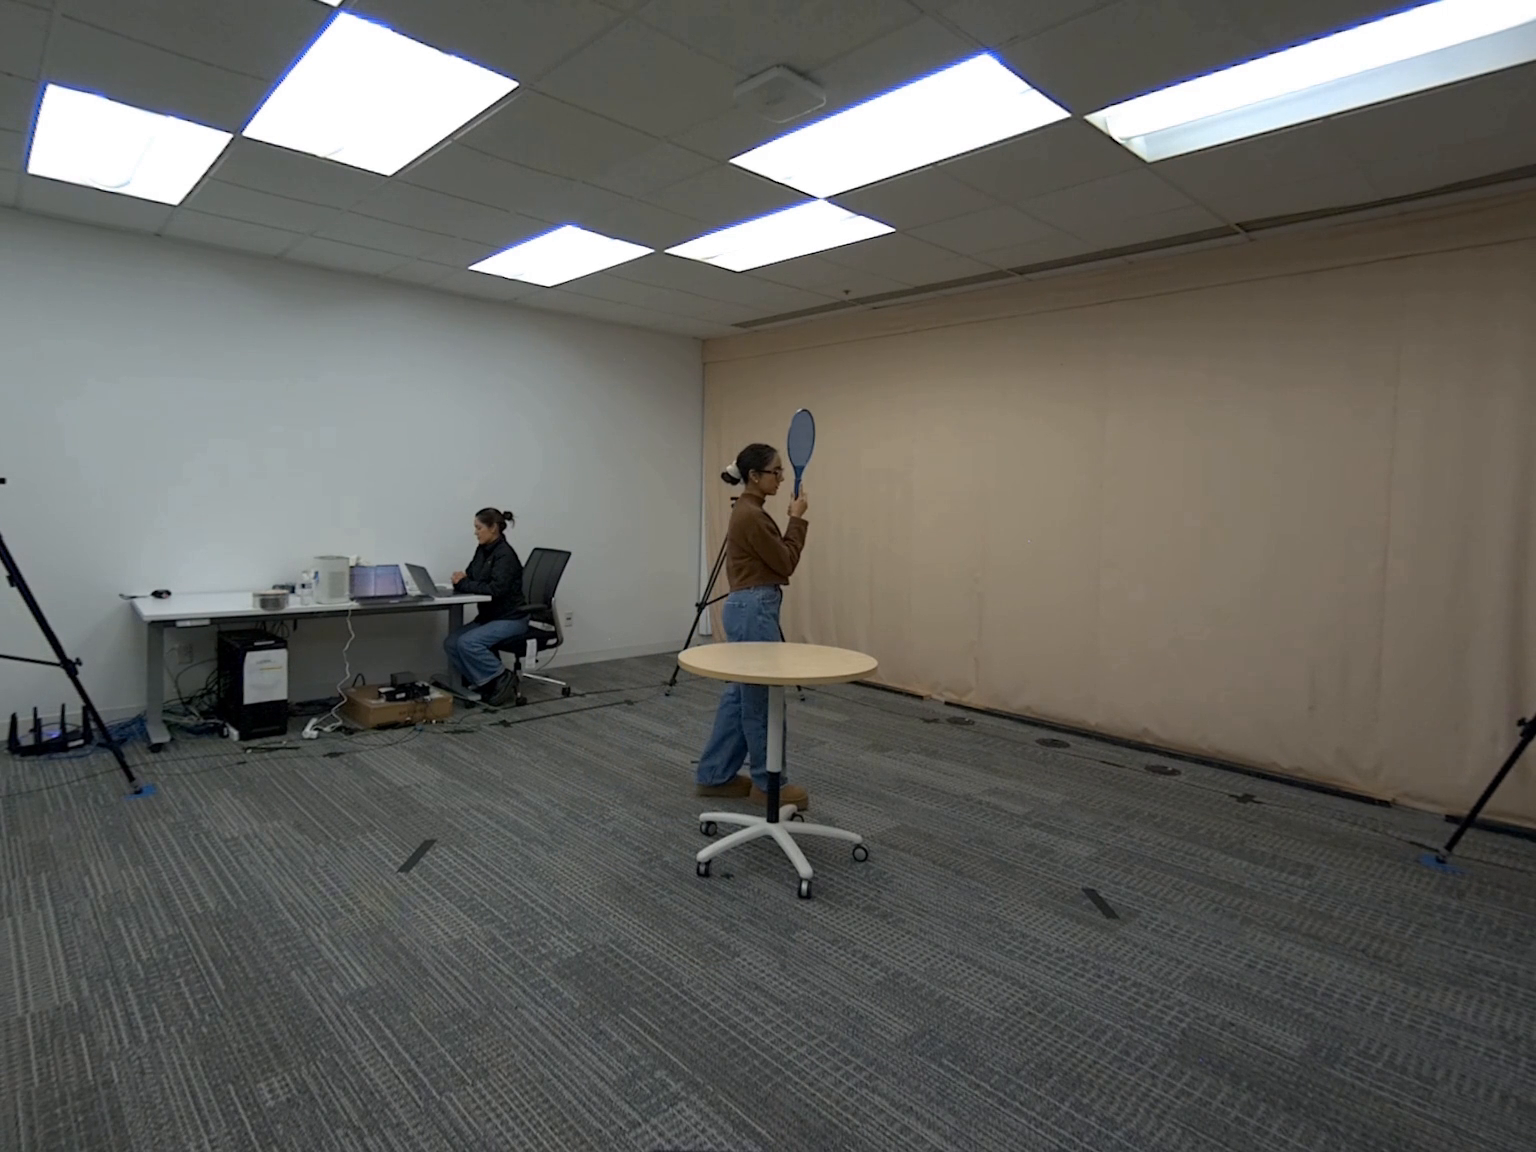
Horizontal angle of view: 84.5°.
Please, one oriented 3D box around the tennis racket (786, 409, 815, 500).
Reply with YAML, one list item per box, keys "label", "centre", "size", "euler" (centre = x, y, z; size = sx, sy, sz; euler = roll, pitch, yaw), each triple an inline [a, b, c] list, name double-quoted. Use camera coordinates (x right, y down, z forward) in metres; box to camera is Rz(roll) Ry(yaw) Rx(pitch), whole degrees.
- label: "tennis racket"
  centre: [0.119, -0.537, 3.778]
  size: [0.032, 0.430, 0.209]
  euler: [15, 10, 33]
